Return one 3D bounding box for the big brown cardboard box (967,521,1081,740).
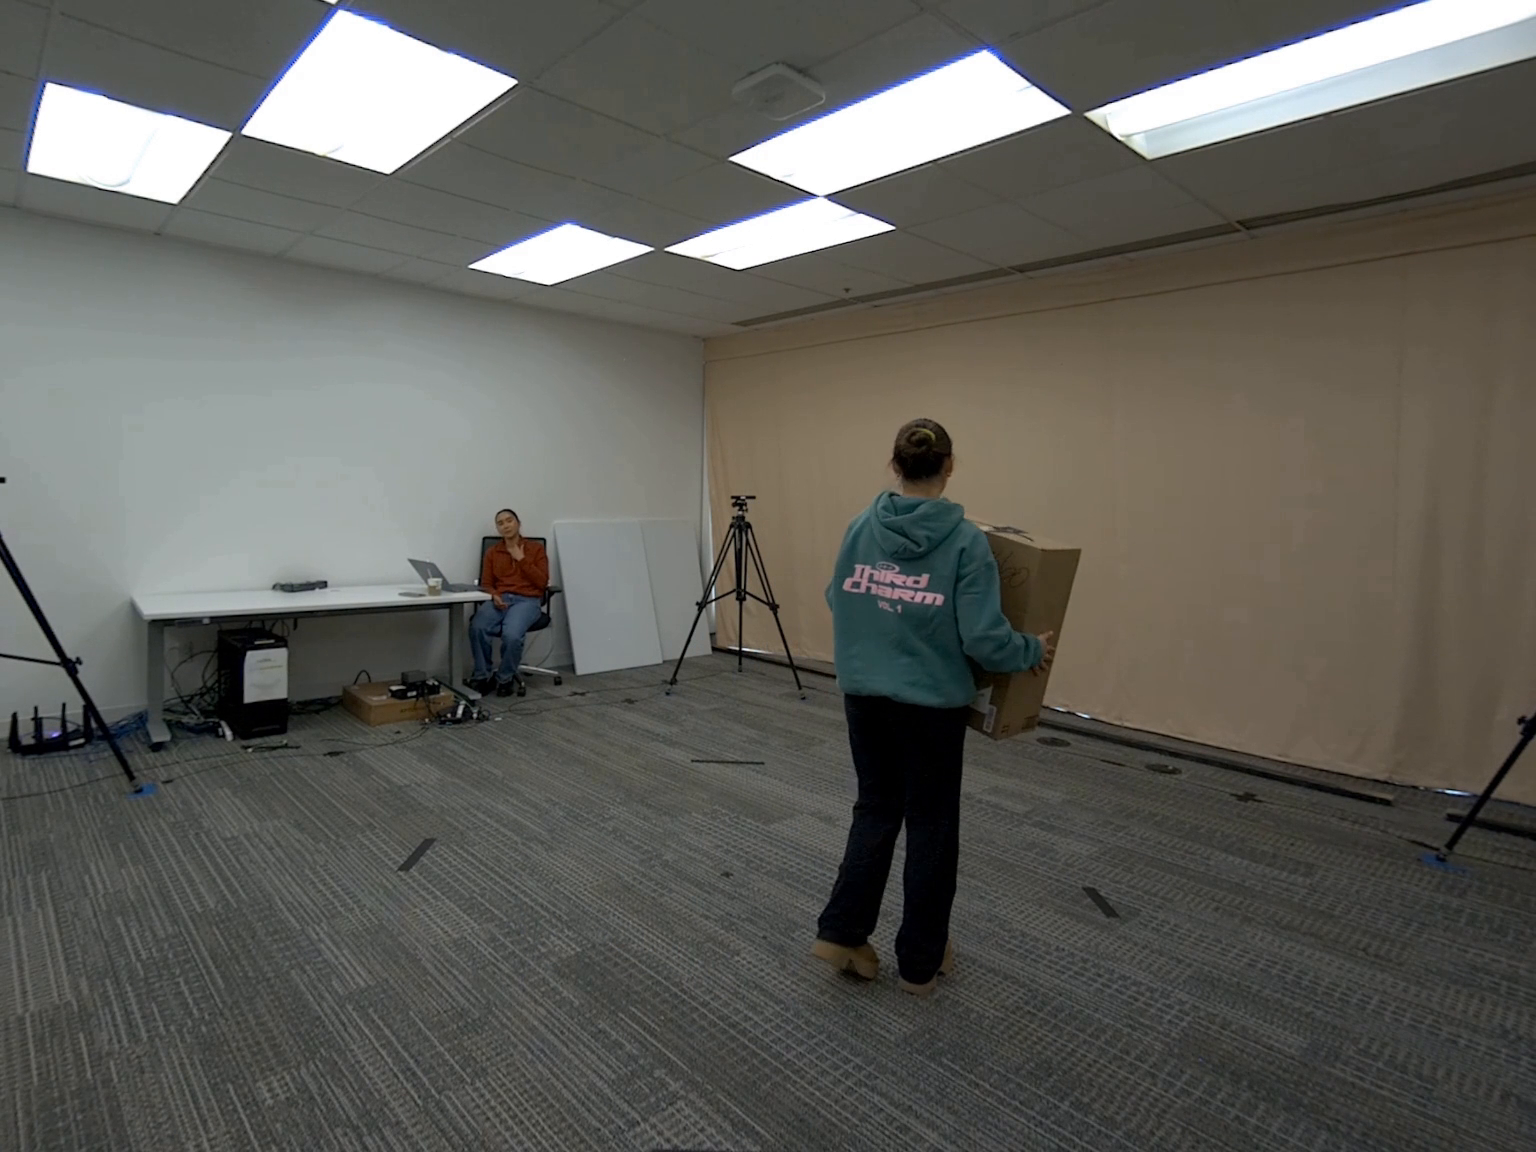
[{"bbox_3d":[0.629,0.140,2.544,0.227,0.585,0.430,2,14,-41],"label":"big brown cardboard box"}]
